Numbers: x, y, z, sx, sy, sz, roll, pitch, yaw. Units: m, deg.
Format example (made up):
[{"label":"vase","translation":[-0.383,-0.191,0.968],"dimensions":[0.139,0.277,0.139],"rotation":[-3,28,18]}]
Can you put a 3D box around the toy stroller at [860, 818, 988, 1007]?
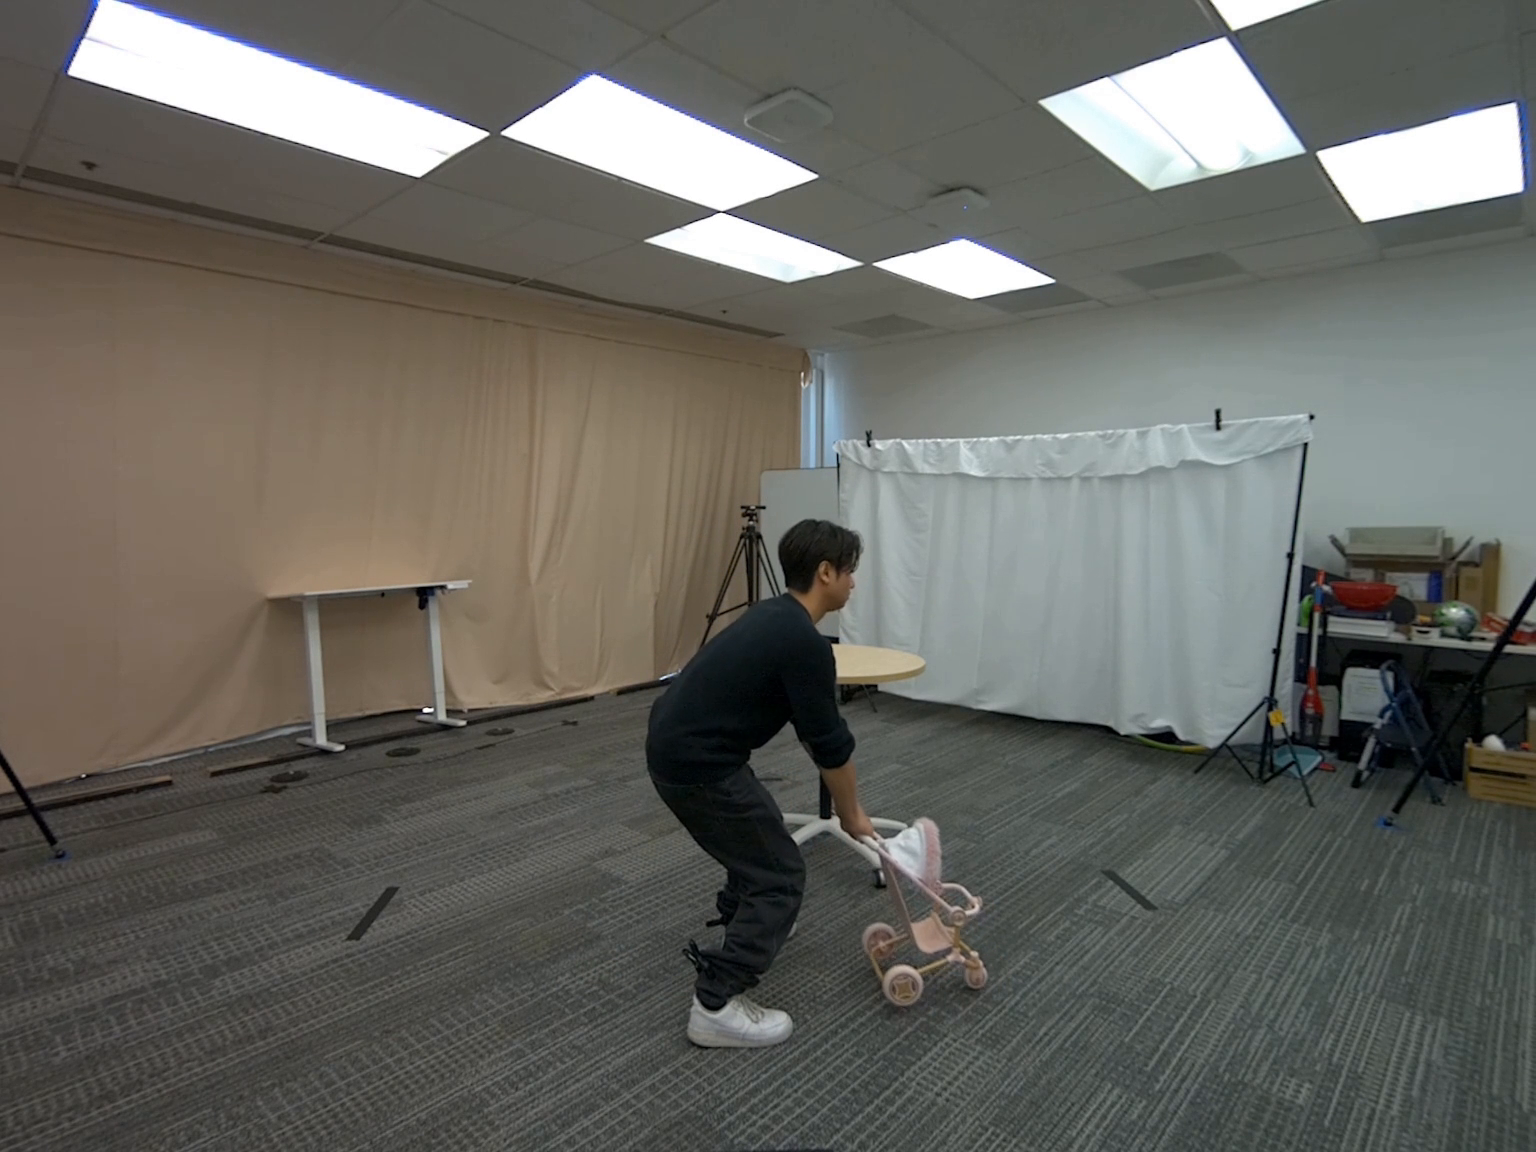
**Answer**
[{"label":"toy stroller","translation":[0.452,0.951,2.396],"dimensions":[0.340,0.534,0.283],"rotation":[-8,3,-4]}]
